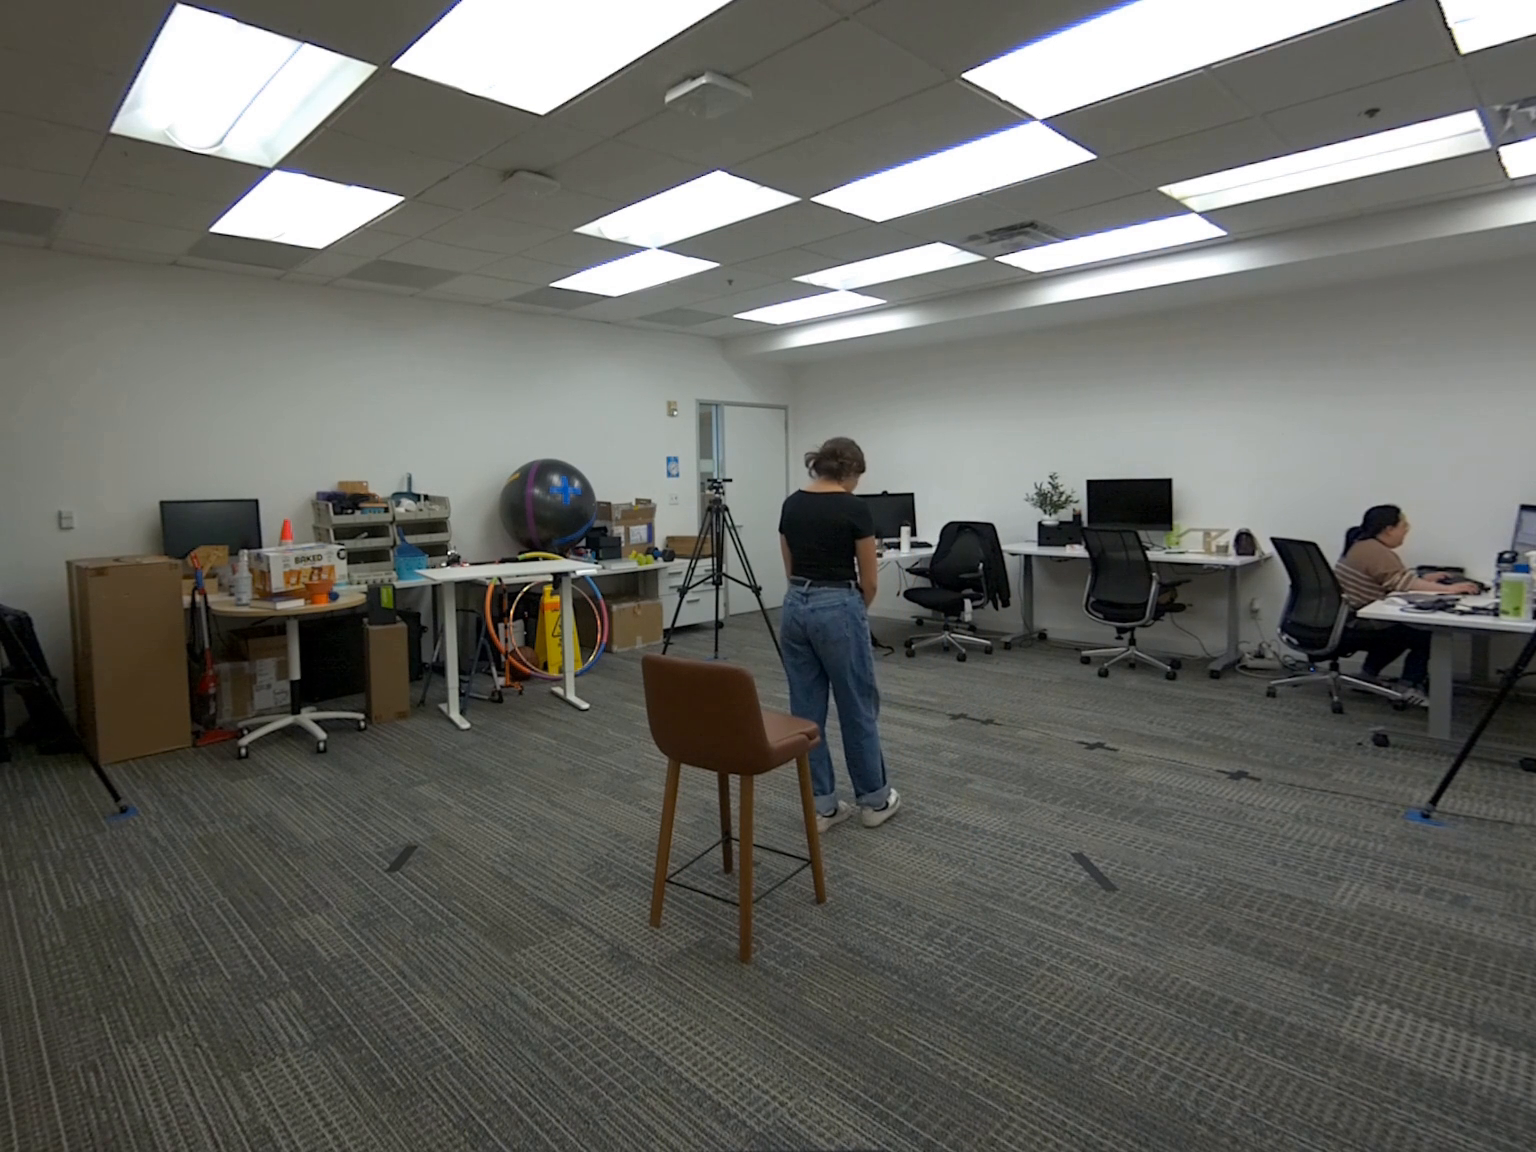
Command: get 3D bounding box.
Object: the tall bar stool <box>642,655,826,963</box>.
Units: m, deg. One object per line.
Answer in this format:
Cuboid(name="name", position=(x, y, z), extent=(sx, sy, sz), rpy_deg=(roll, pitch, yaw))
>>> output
Cuboid(name="tall bar stool", position=(-0.107, 0.655, 2.726), extent=(0.470, 0.885, 0.457), rpy_deg=(2, 7, 35))
